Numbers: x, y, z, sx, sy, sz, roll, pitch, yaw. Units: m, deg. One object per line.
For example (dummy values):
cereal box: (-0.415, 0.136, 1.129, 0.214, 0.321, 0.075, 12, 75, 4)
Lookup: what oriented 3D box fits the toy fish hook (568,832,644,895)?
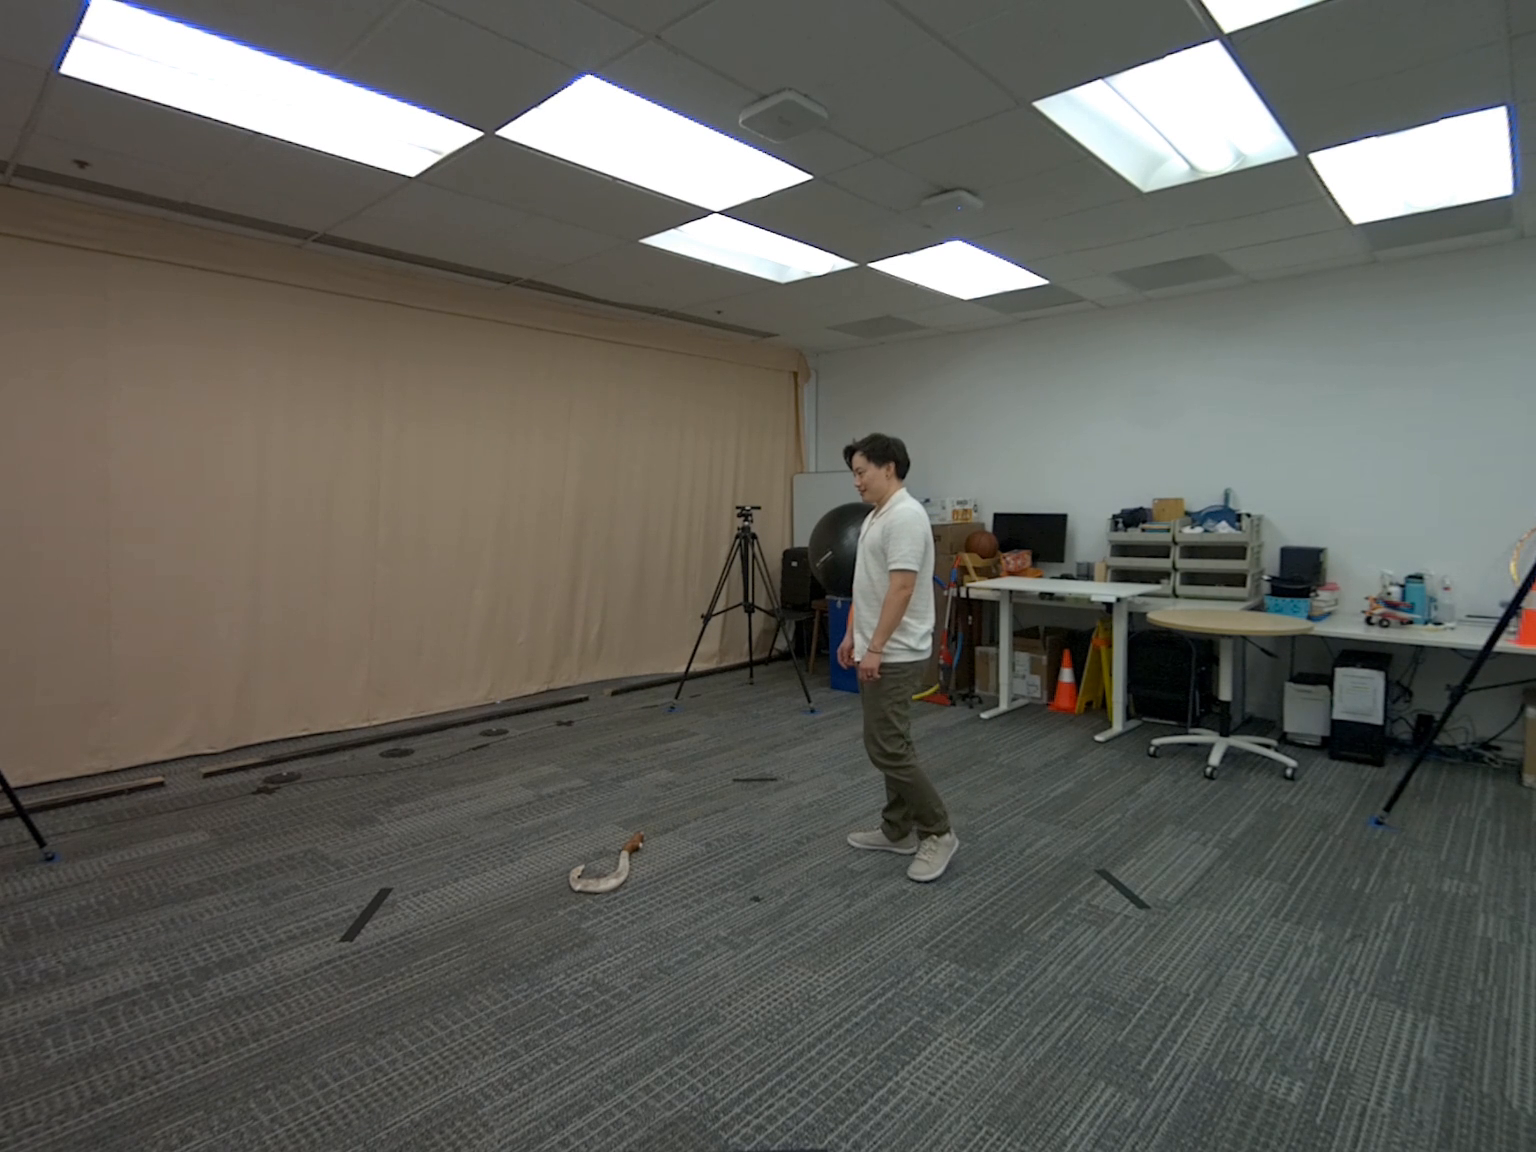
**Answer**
toy fish hook: (-0.620, 1.103, 3.273, 0.227, 0.048, 0.503, 2, 5, 7)
